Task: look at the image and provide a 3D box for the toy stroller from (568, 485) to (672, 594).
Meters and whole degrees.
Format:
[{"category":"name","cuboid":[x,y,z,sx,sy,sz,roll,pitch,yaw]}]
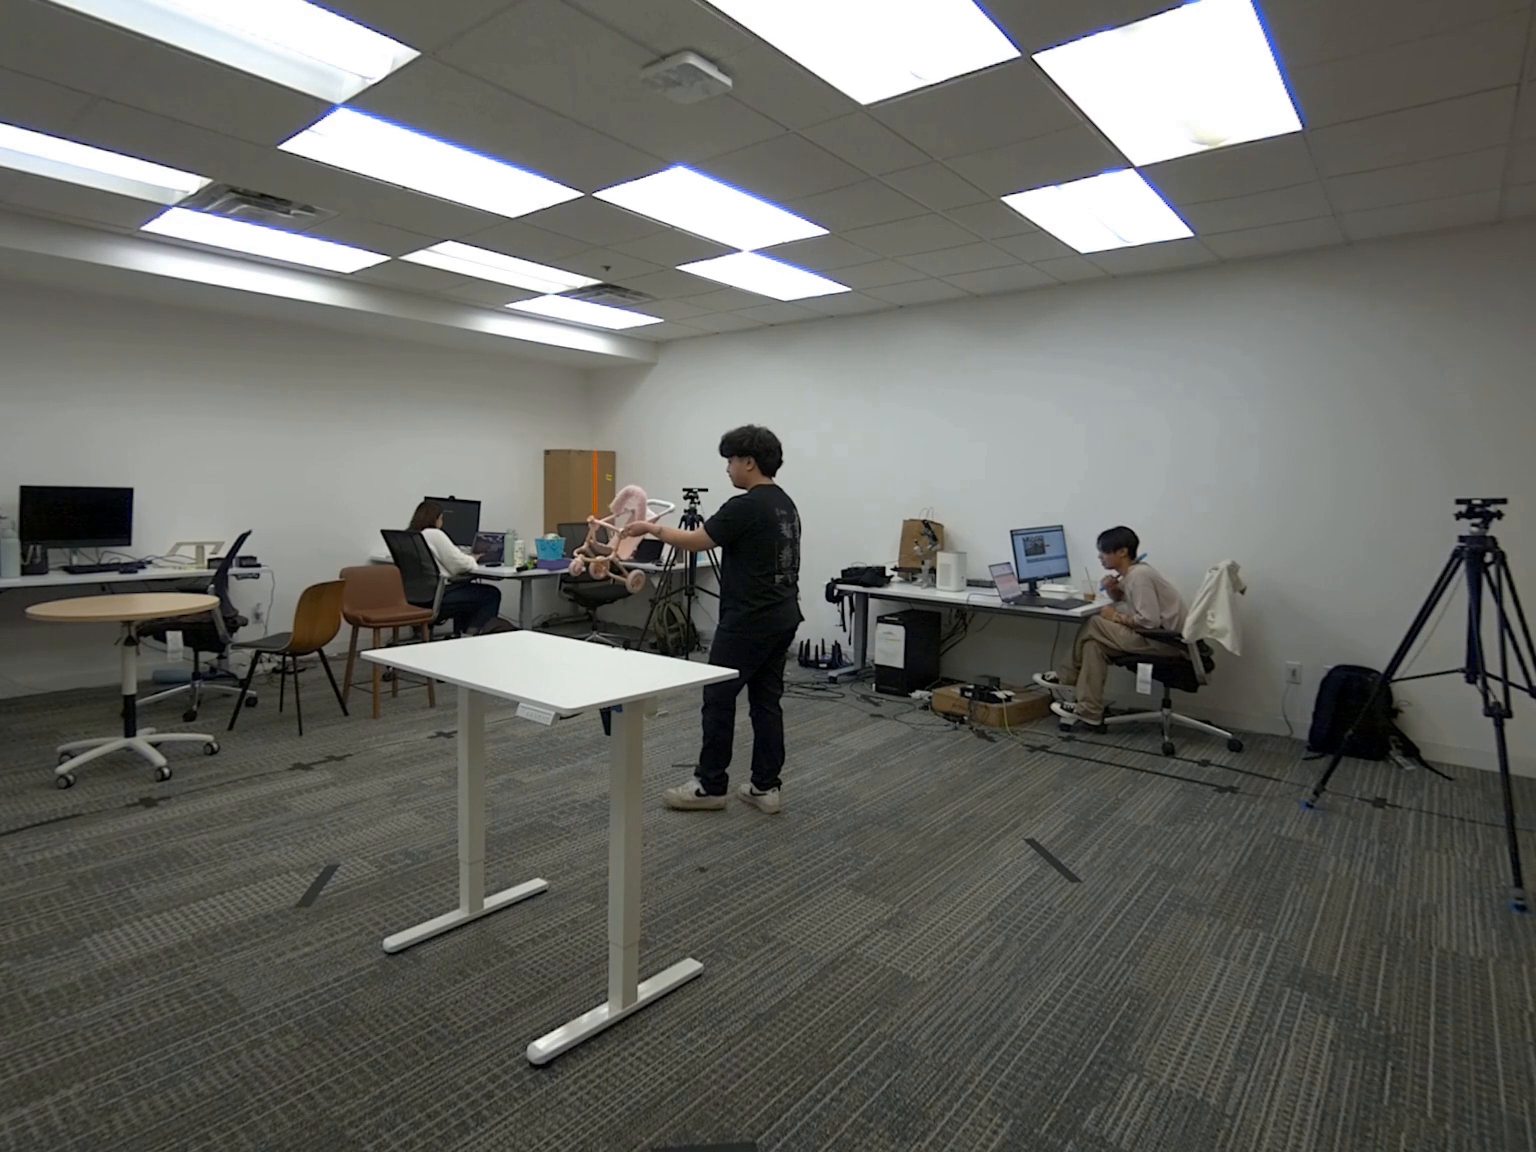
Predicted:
[{"category":"toy stroller","cuboid":[-0.707,-0.188,3.893,0.292,0.537,0.327,15,-17,42]}]
